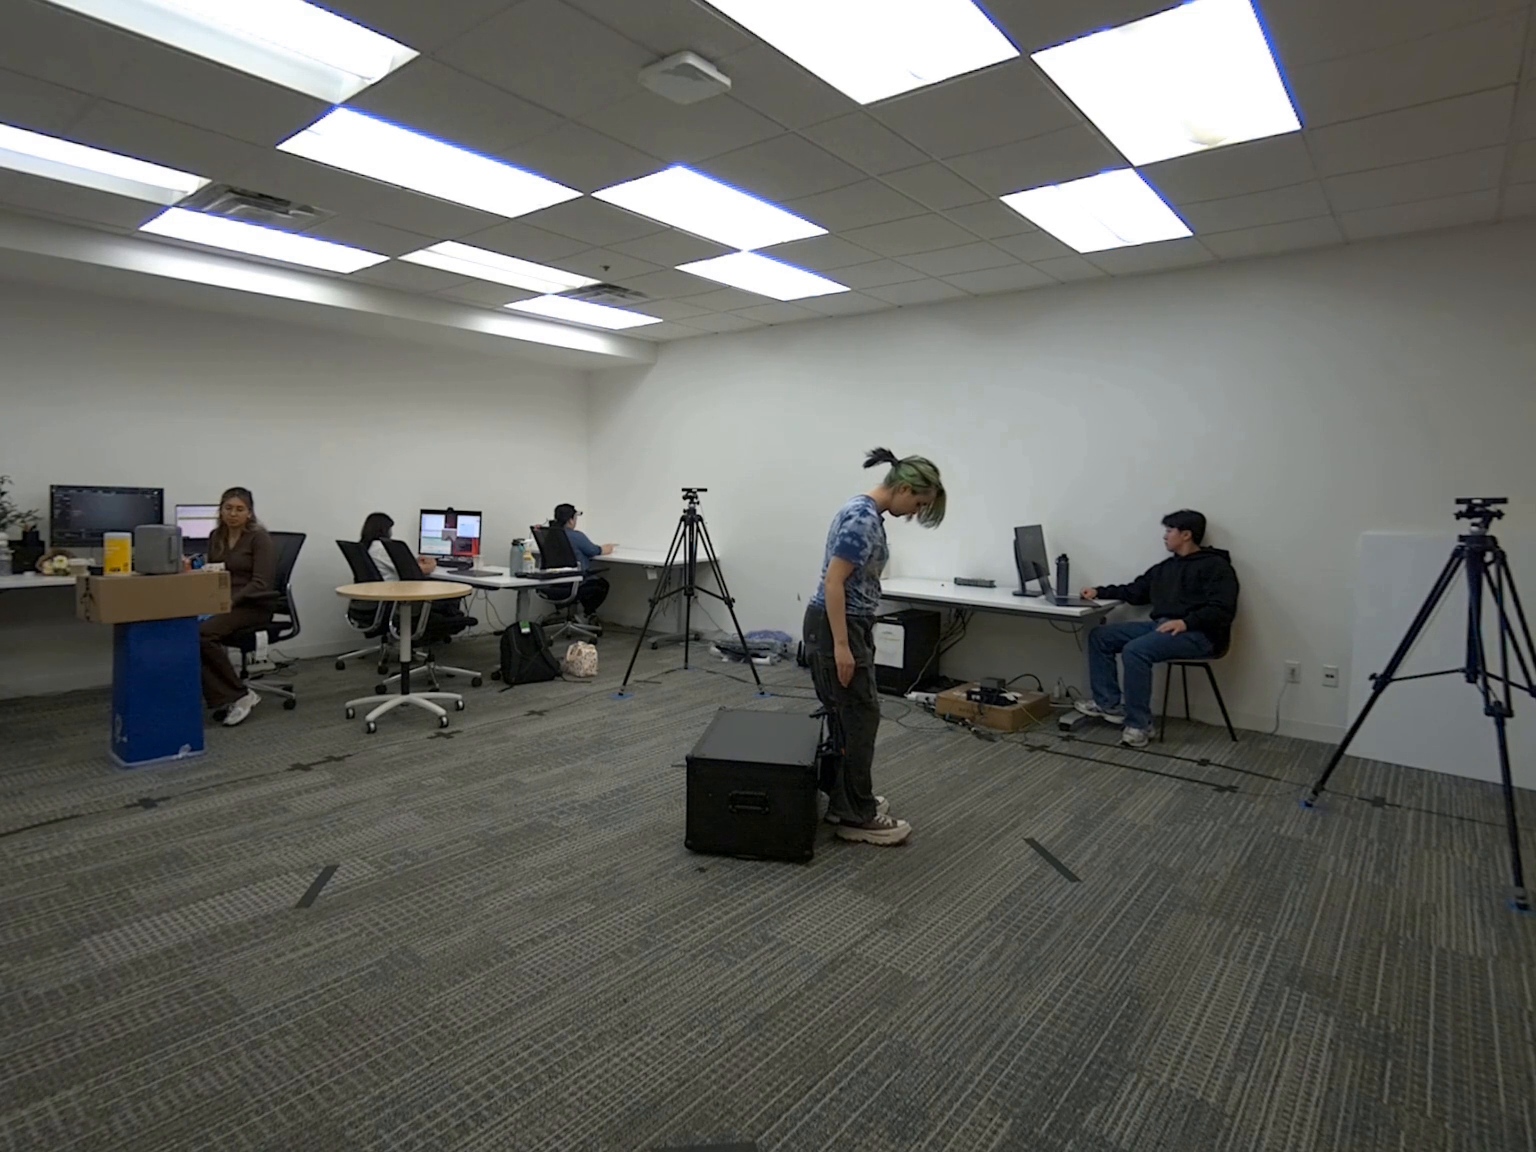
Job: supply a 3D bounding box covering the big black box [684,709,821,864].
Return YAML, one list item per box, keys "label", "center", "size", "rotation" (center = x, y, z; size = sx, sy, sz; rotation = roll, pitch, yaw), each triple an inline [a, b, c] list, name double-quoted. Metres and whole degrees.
- label: "big black box"
  center: [-0.034, 0.831, 3.585]
  size: [0.526, 0.394, 0.857]
  rotation: [1, 6, 7]
